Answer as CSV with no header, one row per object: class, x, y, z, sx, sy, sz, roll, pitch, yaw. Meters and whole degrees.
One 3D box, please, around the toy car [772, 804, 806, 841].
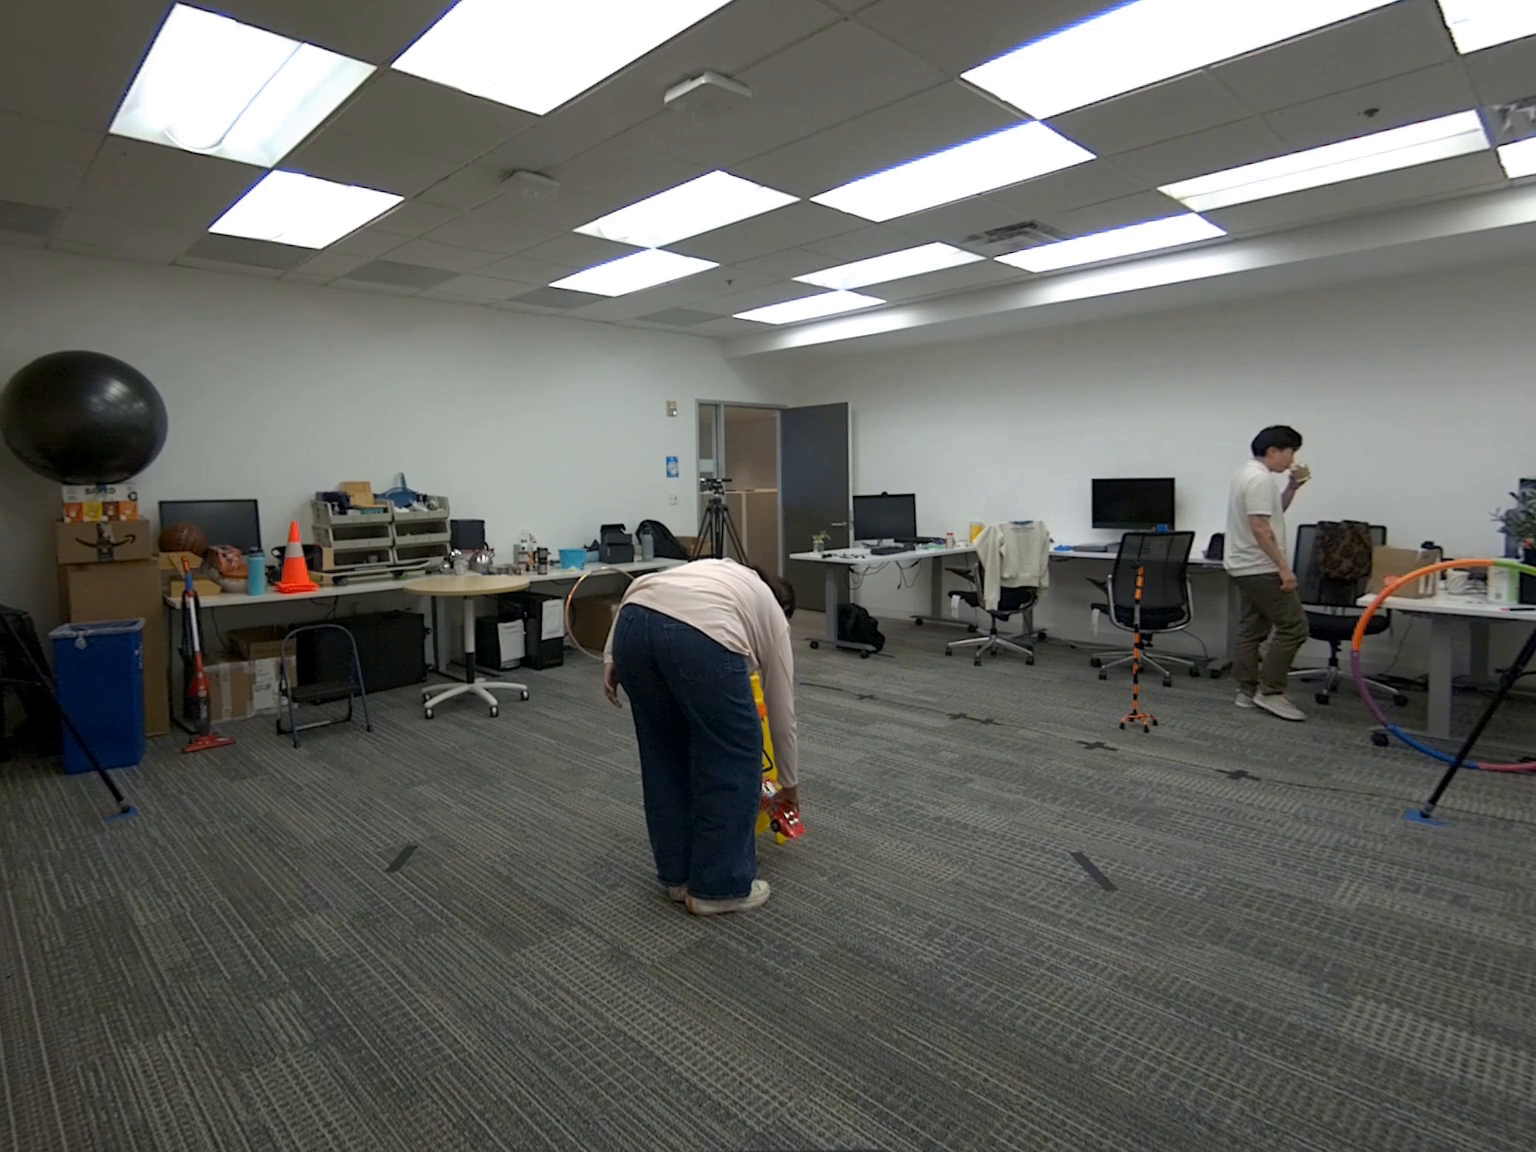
toy car,0.028,0.858,3.152,0.126,0.082,0.264,-2,38,-45
